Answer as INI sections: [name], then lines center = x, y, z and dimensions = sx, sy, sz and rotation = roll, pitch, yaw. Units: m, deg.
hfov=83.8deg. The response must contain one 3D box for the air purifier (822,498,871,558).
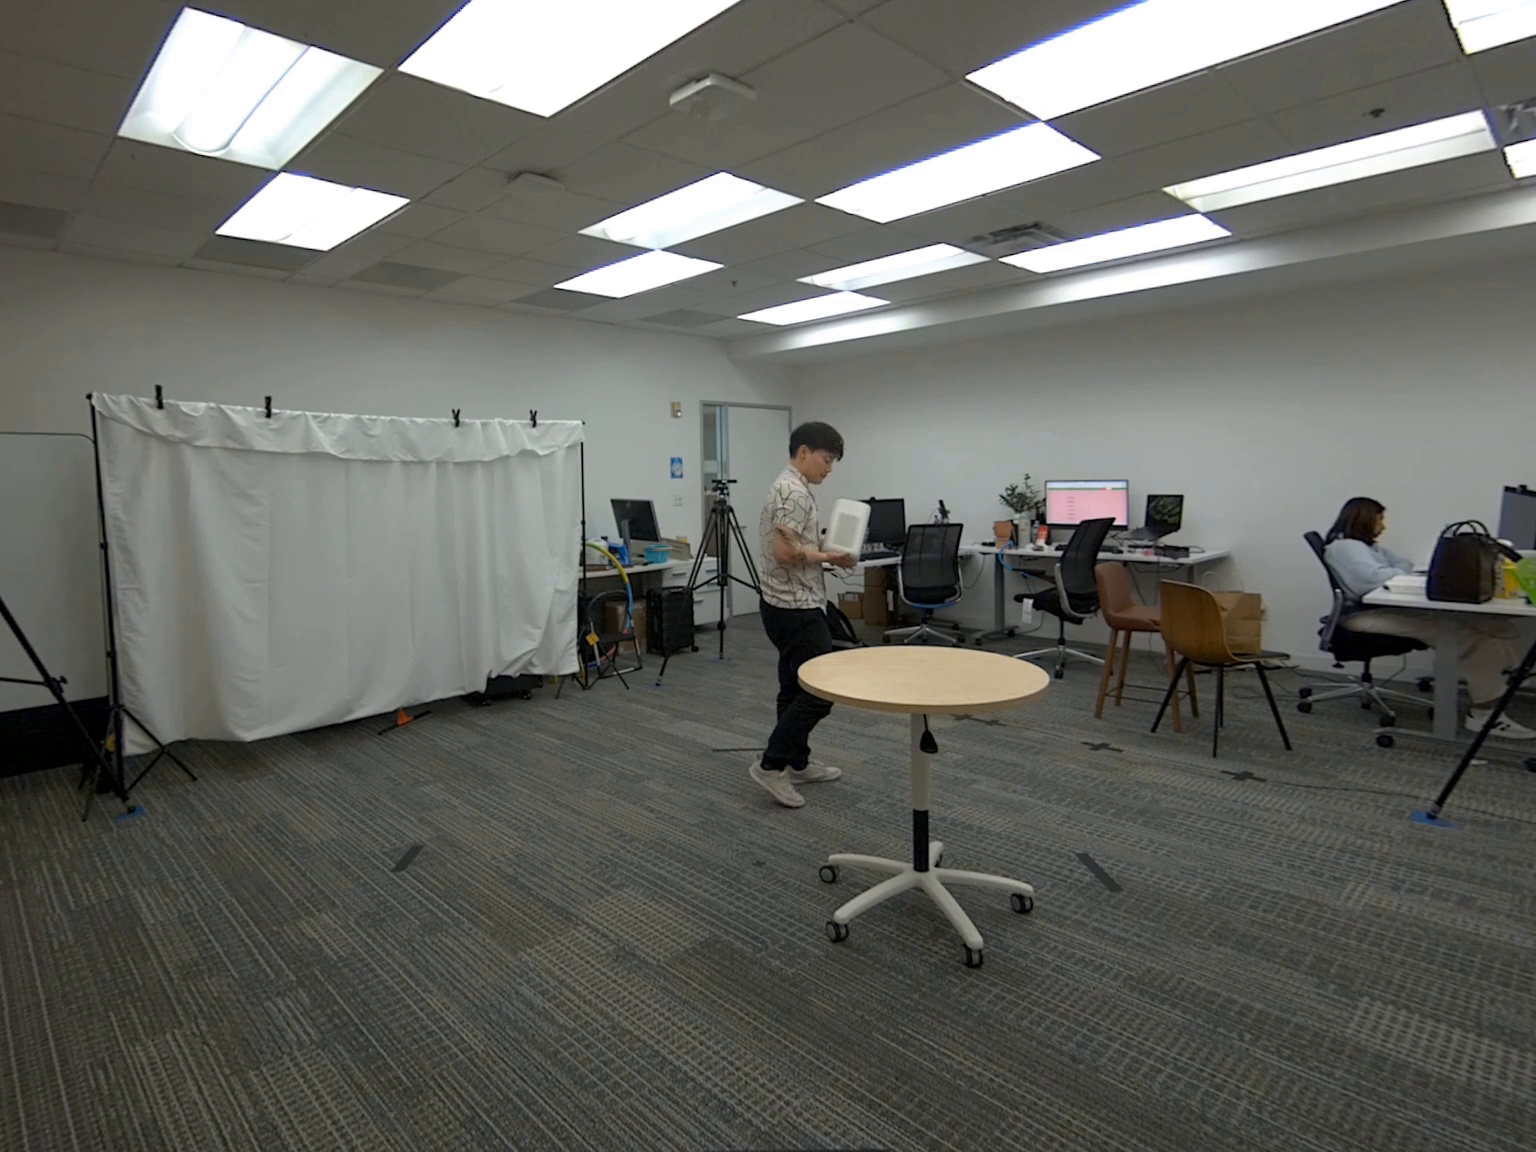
[air purifier]
center = 0.339, -0.191, 3.816
dimensions = 0.173, 0.268, 0.168
rotation = 13, -19, 6
